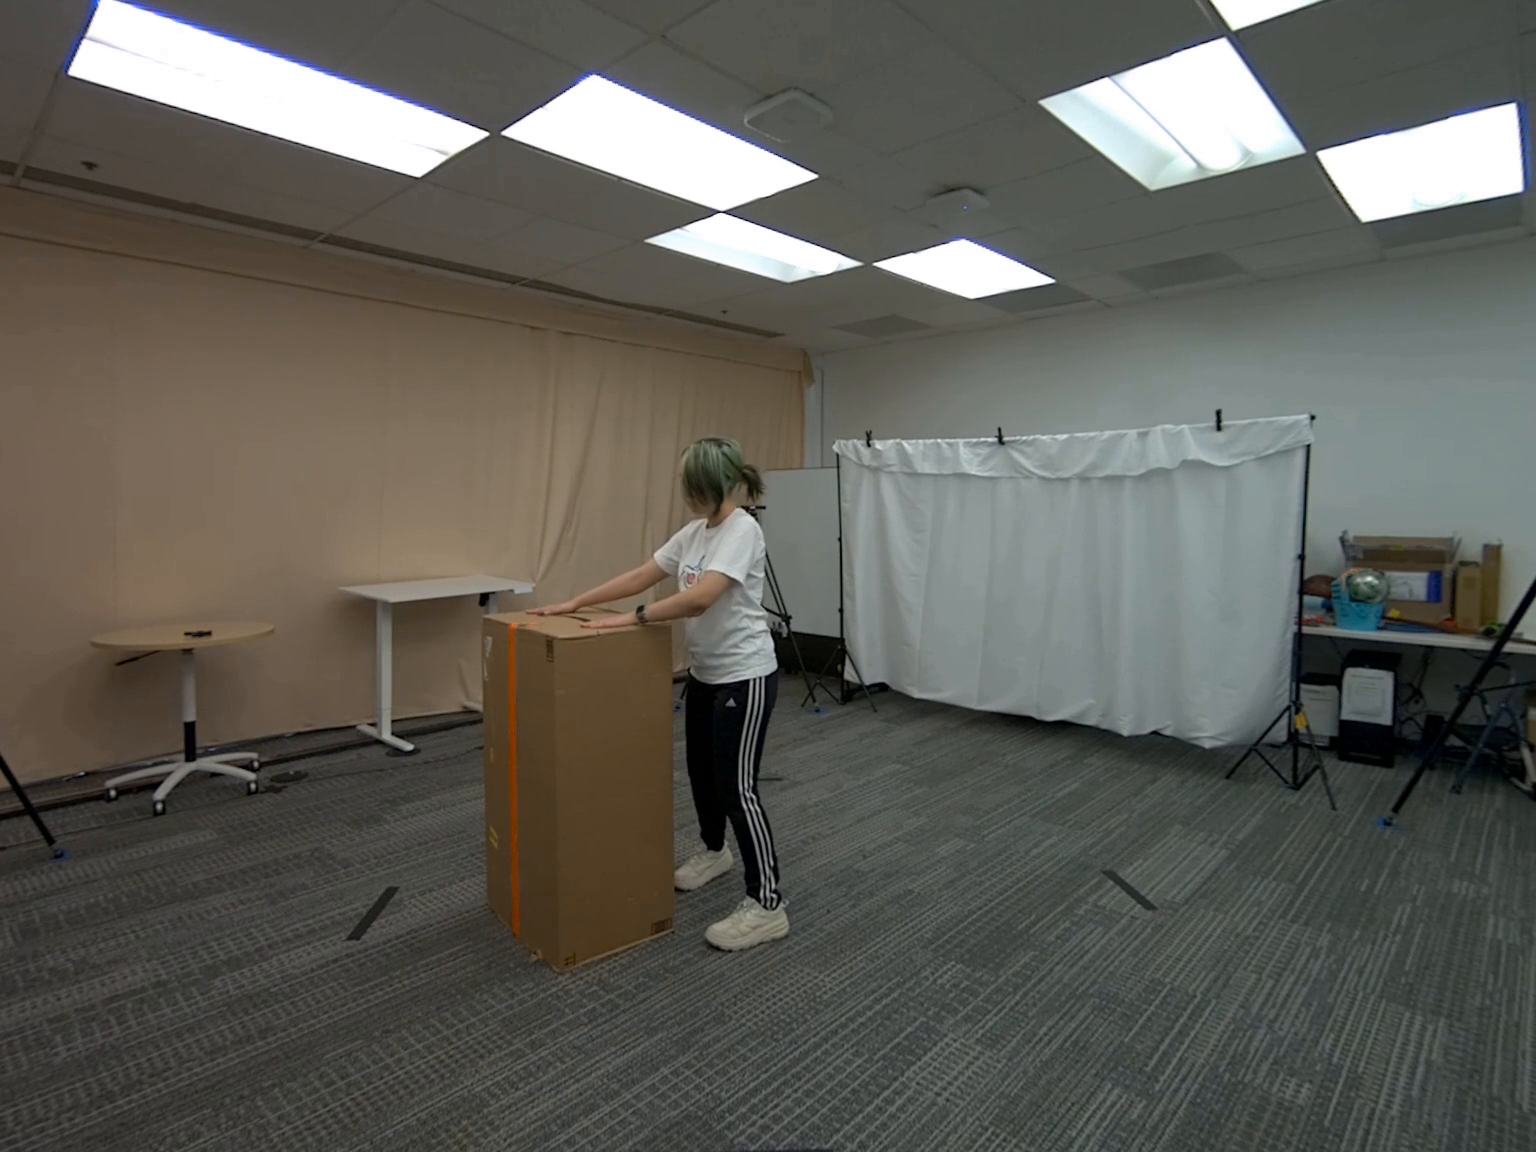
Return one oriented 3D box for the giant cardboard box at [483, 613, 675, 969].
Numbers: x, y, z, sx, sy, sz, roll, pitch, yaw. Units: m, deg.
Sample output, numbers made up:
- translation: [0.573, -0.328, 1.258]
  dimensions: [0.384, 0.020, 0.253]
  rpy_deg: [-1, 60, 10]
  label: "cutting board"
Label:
- translation: [-0.653, 0.659, 2.833]
  dimensions: [0.433, 1.025, 0.603]
  rpy_deg: [-2, 4, -40]
  label: "giant cardboard box"
